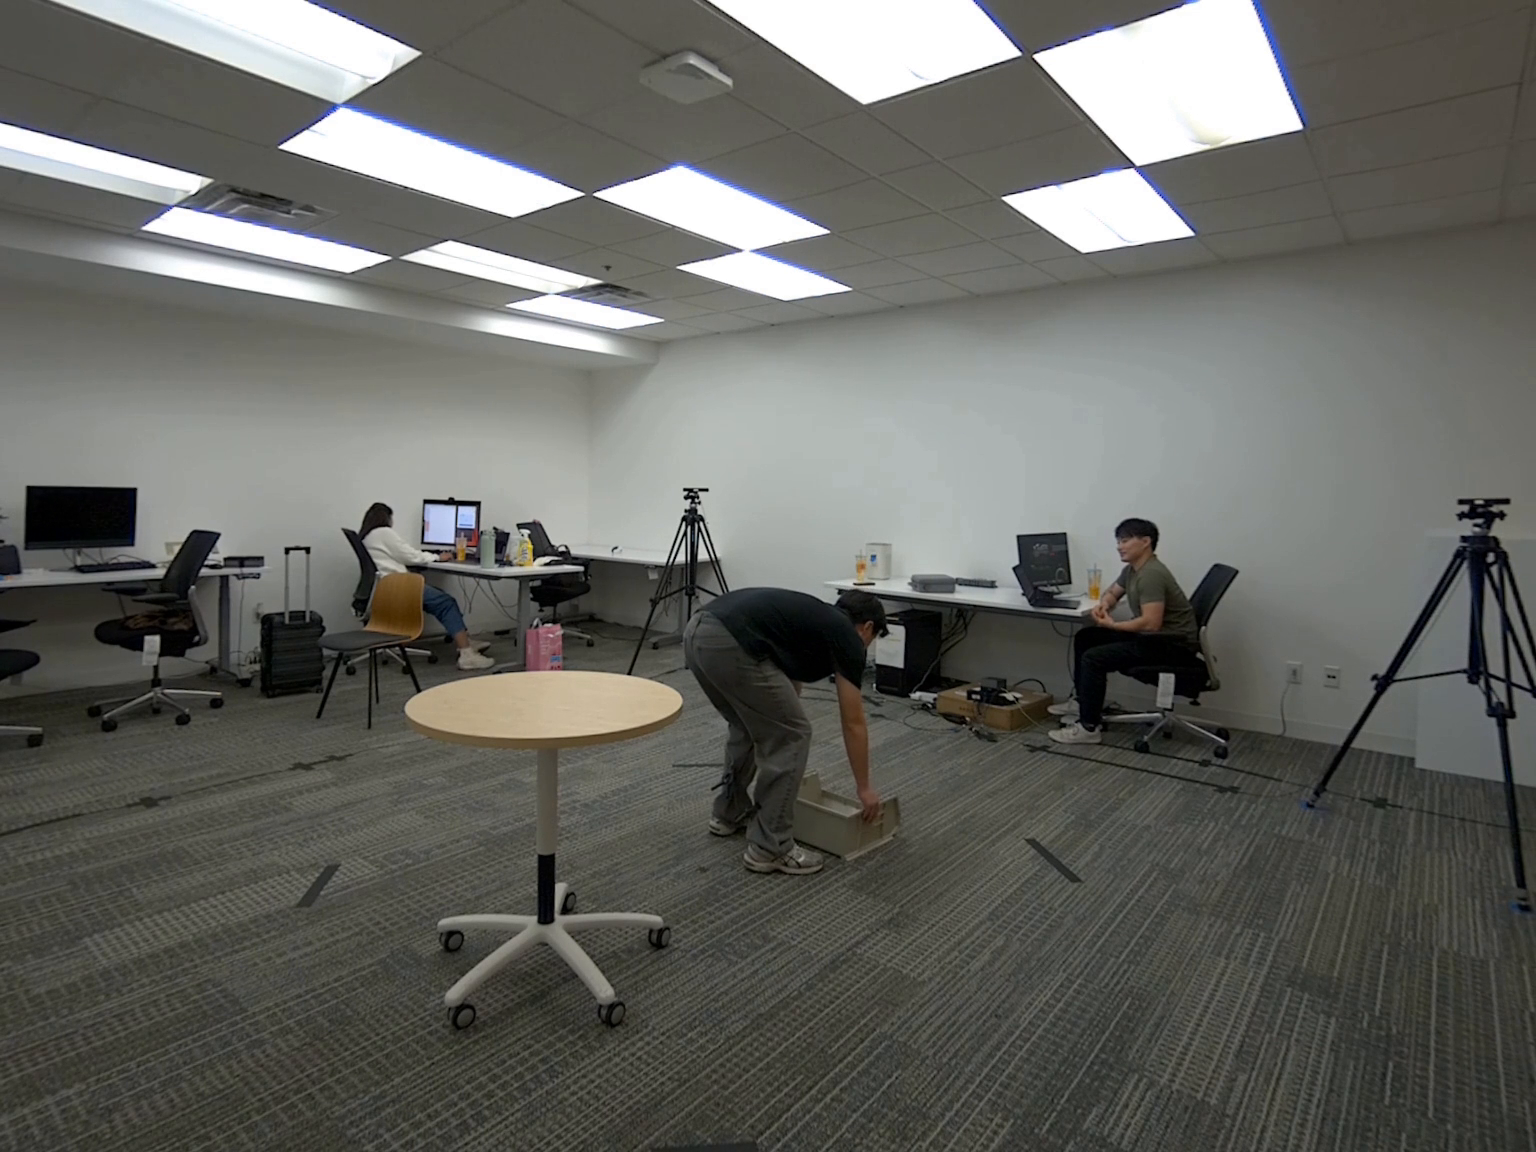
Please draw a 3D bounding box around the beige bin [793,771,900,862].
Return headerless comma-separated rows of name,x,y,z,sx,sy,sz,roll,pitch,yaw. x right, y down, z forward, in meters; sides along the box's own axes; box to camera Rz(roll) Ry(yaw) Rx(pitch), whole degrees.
beige bin,0.255,0.953,3.461,0.437,0.188,0.366,6,8,41
